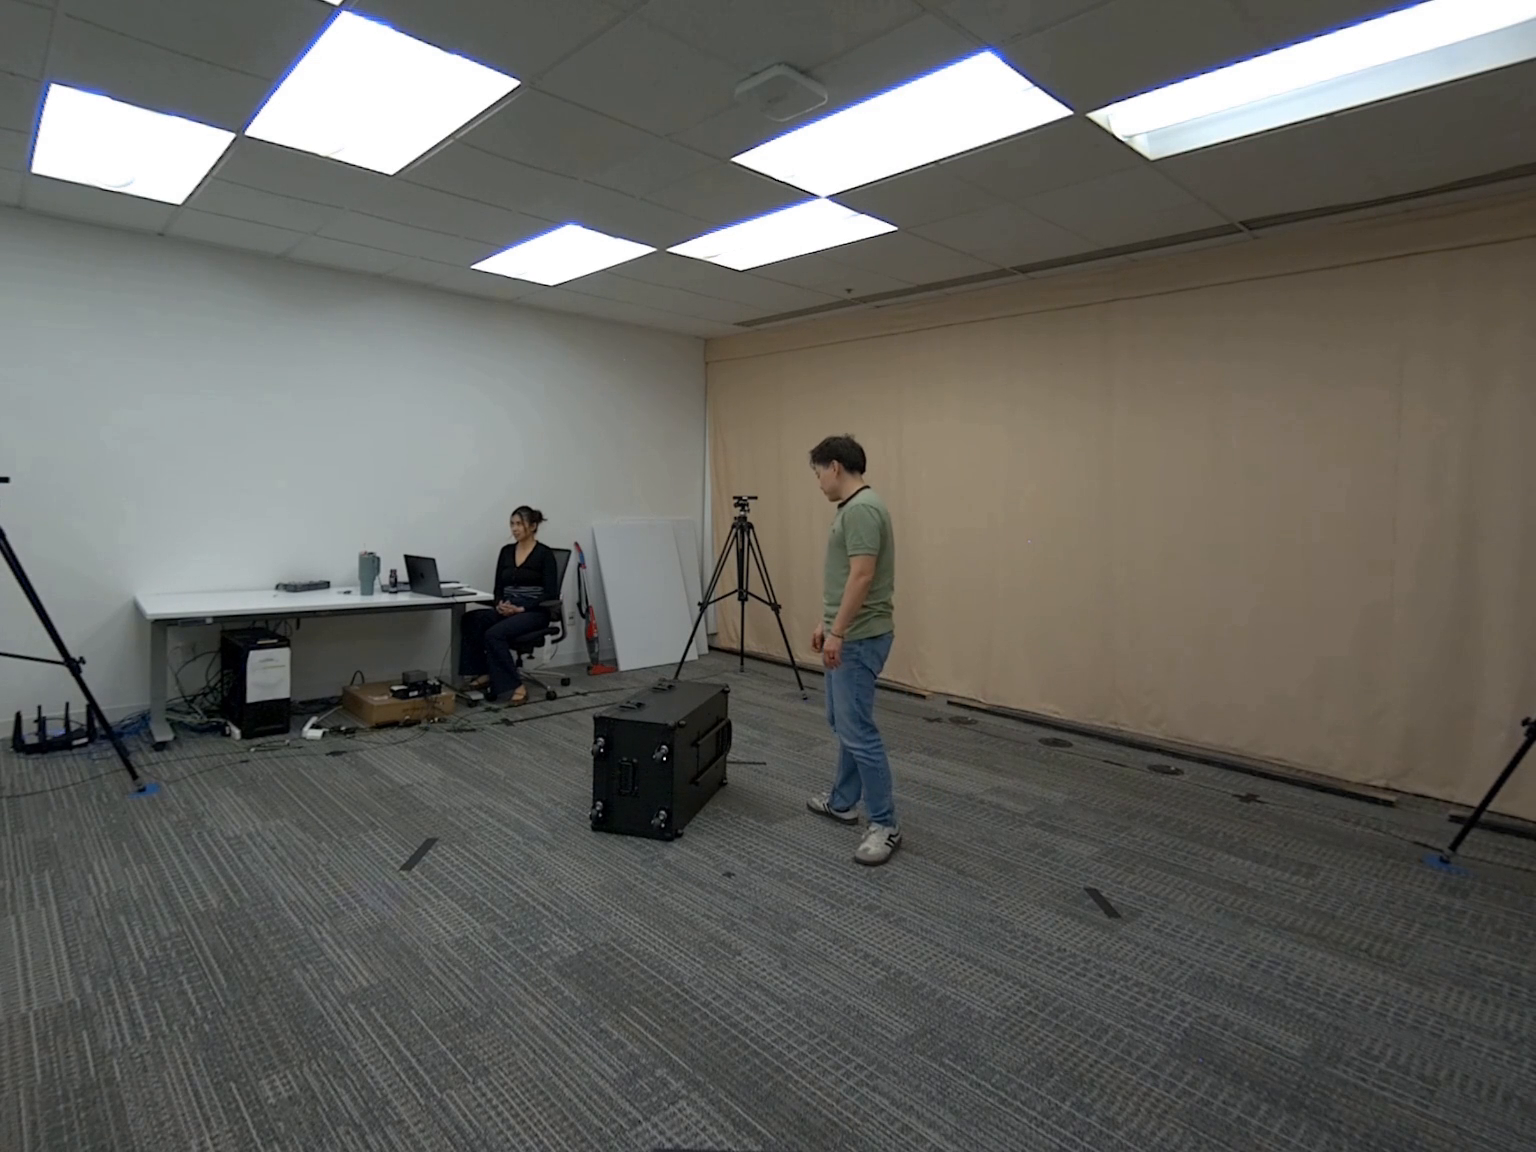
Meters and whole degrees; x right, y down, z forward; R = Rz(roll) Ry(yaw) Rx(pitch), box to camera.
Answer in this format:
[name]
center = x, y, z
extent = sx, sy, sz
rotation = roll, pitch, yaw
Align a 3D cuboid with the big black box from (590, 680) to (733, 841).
[big black box]
center = -0.446, 0.779, 3.811
extent = 0.401, 0.519, 0.854
rotation = 3, 5, 13
